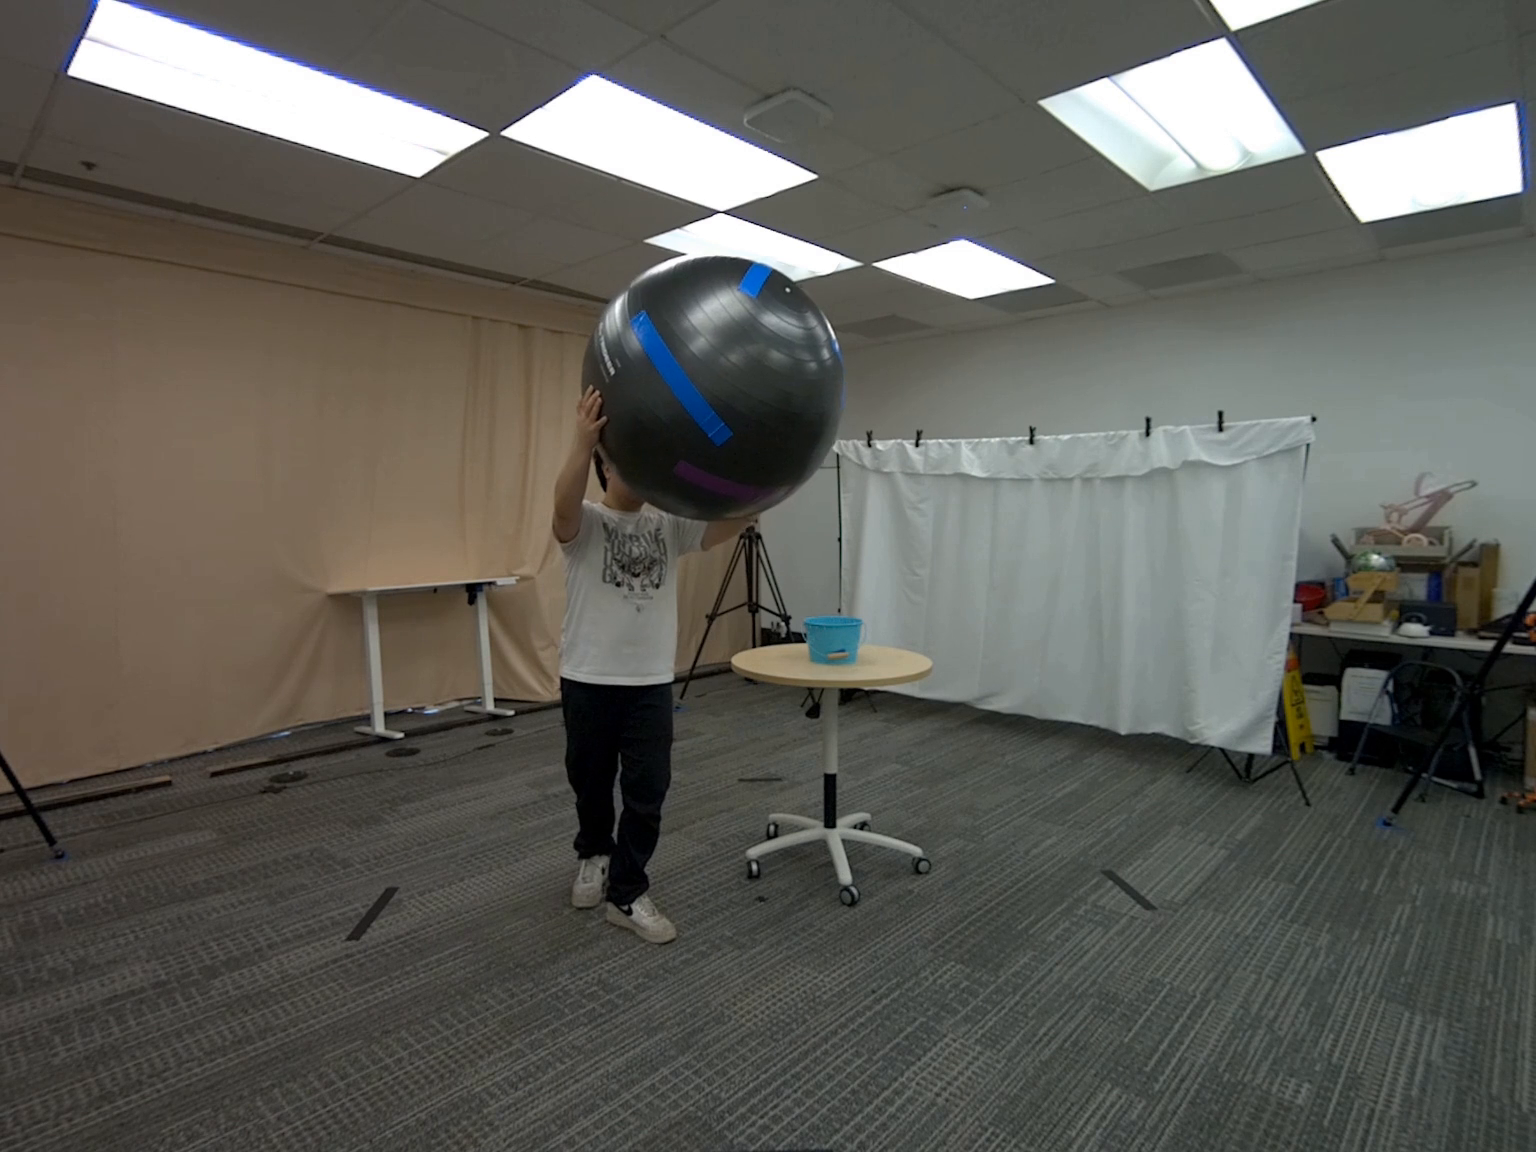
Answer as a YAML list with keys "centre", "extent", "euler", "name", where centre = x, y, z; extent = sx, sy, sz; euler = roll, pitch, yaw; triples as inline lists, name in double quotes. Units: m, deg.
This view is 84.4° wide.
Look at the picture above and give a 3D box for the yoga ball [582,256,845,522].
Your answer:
- centre: [-0.159, -0.537, 2.445]
  extent: [0.757, 0.756, 0.760]
  euler: [0, 4, -2]
  name: "yoga ball"
